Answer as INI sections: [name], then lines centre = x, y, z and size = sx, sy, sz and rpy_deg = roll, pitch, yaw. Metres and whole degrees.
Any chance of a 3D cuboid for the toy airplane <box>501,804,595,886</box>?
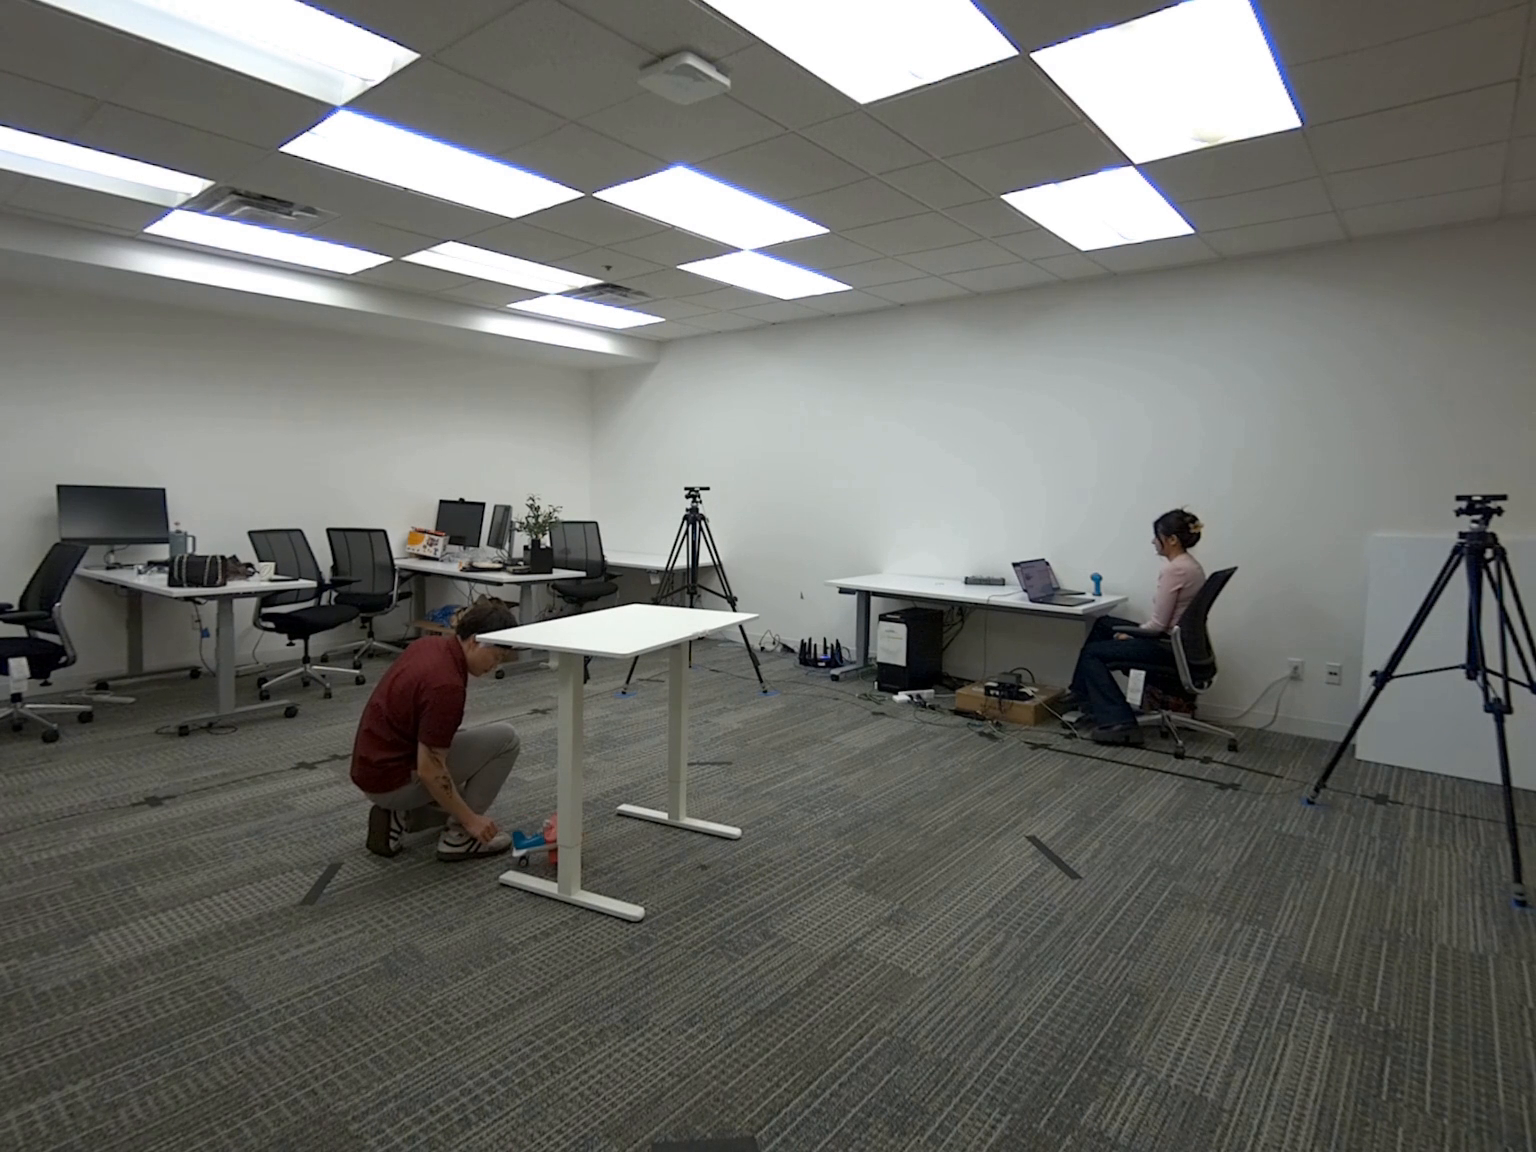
[toy airplane]
centre = -0.817, 0.983, 3.105
size = 0.252, 0.156, 0.259
rpy_deg = -2, 5, -35
